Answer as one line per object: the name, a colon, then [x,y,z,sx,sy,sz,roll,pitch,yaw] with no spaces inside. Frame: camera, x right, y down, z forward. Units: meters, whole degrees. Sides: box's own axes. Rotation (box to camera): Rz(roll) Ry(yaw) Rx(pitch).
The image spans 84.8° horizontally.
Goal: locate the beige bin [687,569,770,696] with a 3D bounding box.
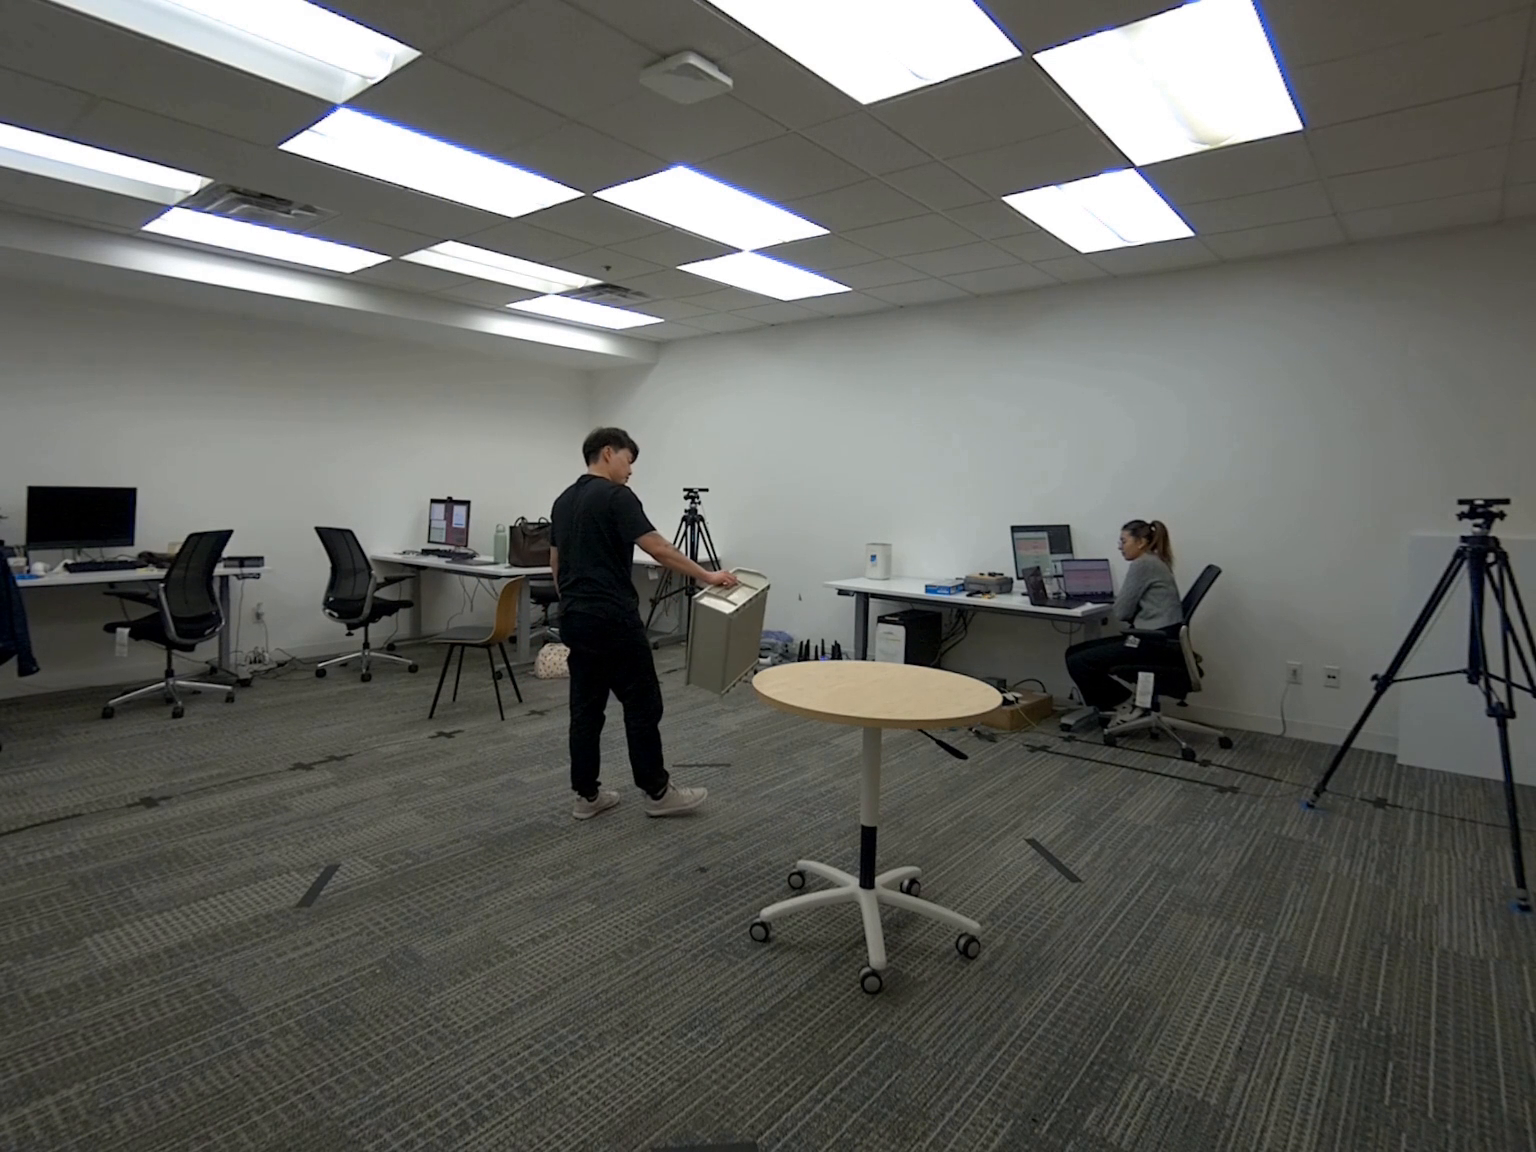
beige bin: [-0.170,0.232,3.568,0.195,0.414,0.373,20,29,23]
